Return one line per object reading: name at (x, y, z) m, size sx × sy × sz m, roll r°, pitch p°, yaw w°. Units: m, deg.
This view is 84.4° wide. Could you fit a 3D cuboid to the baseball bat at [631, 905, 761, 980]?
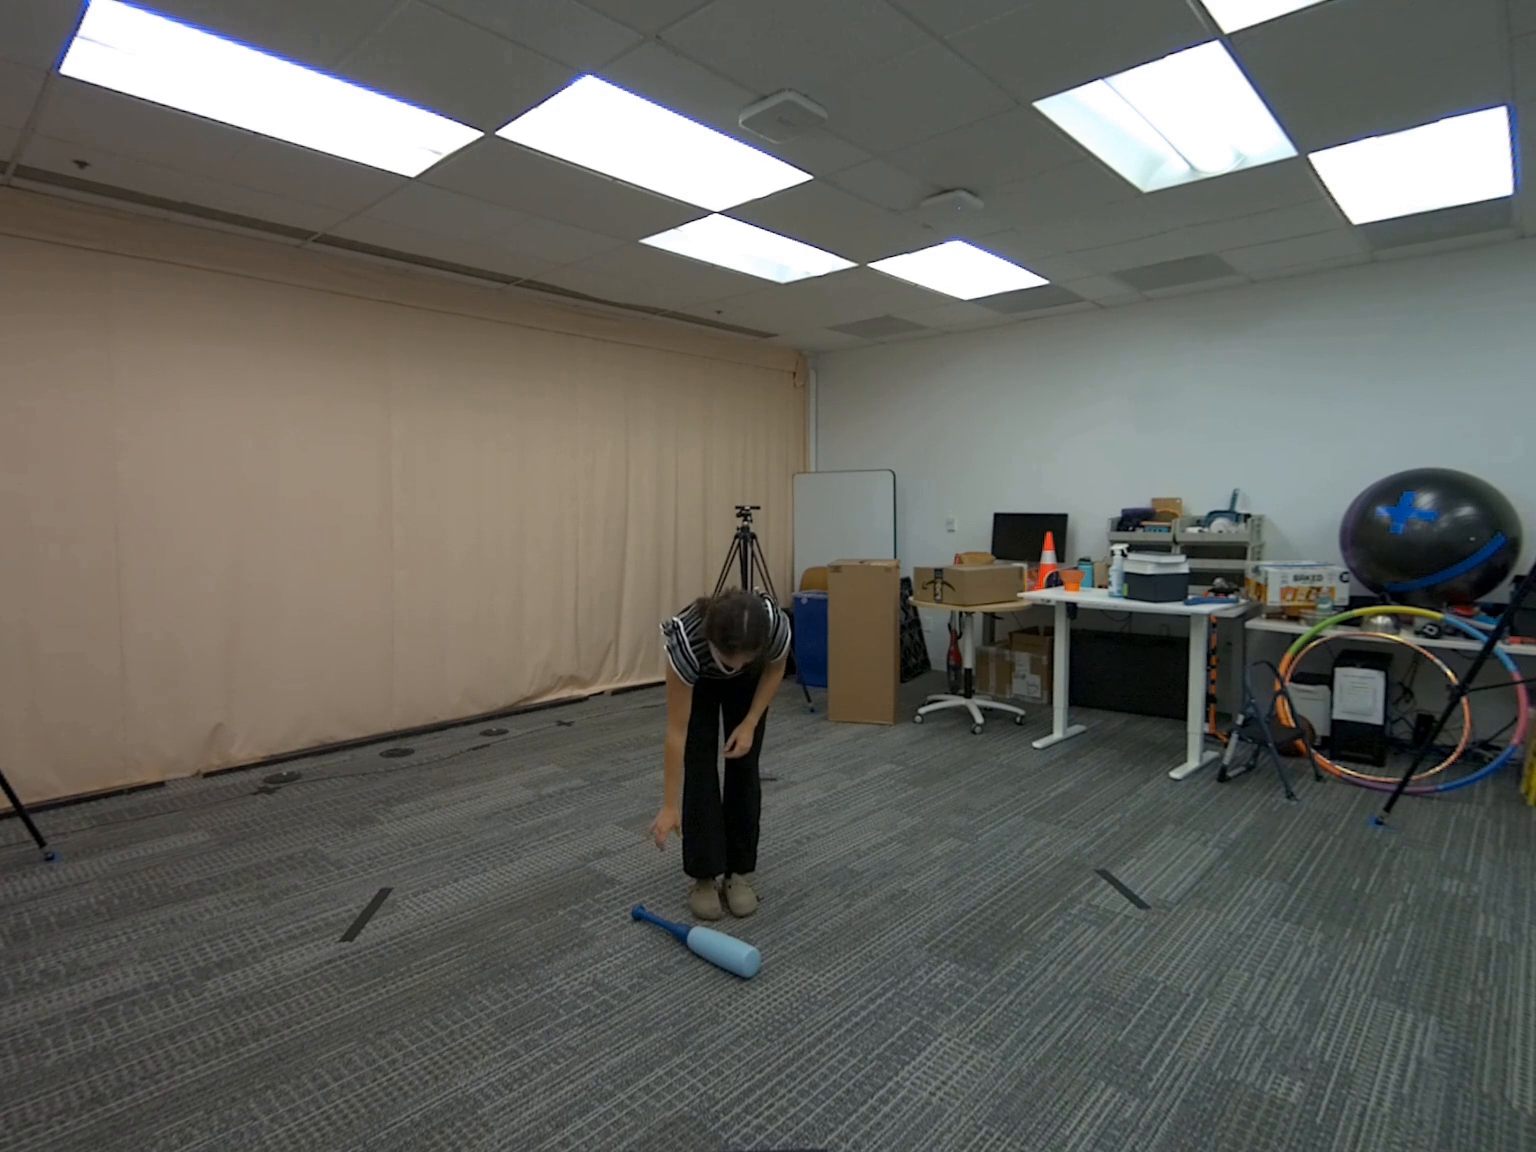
baseball bat at (-0.246, 1.136, 2.658) m, size 0.560 × 0.089 × 0.086 m, roll 0°, pitch 3°, yaw 44°
